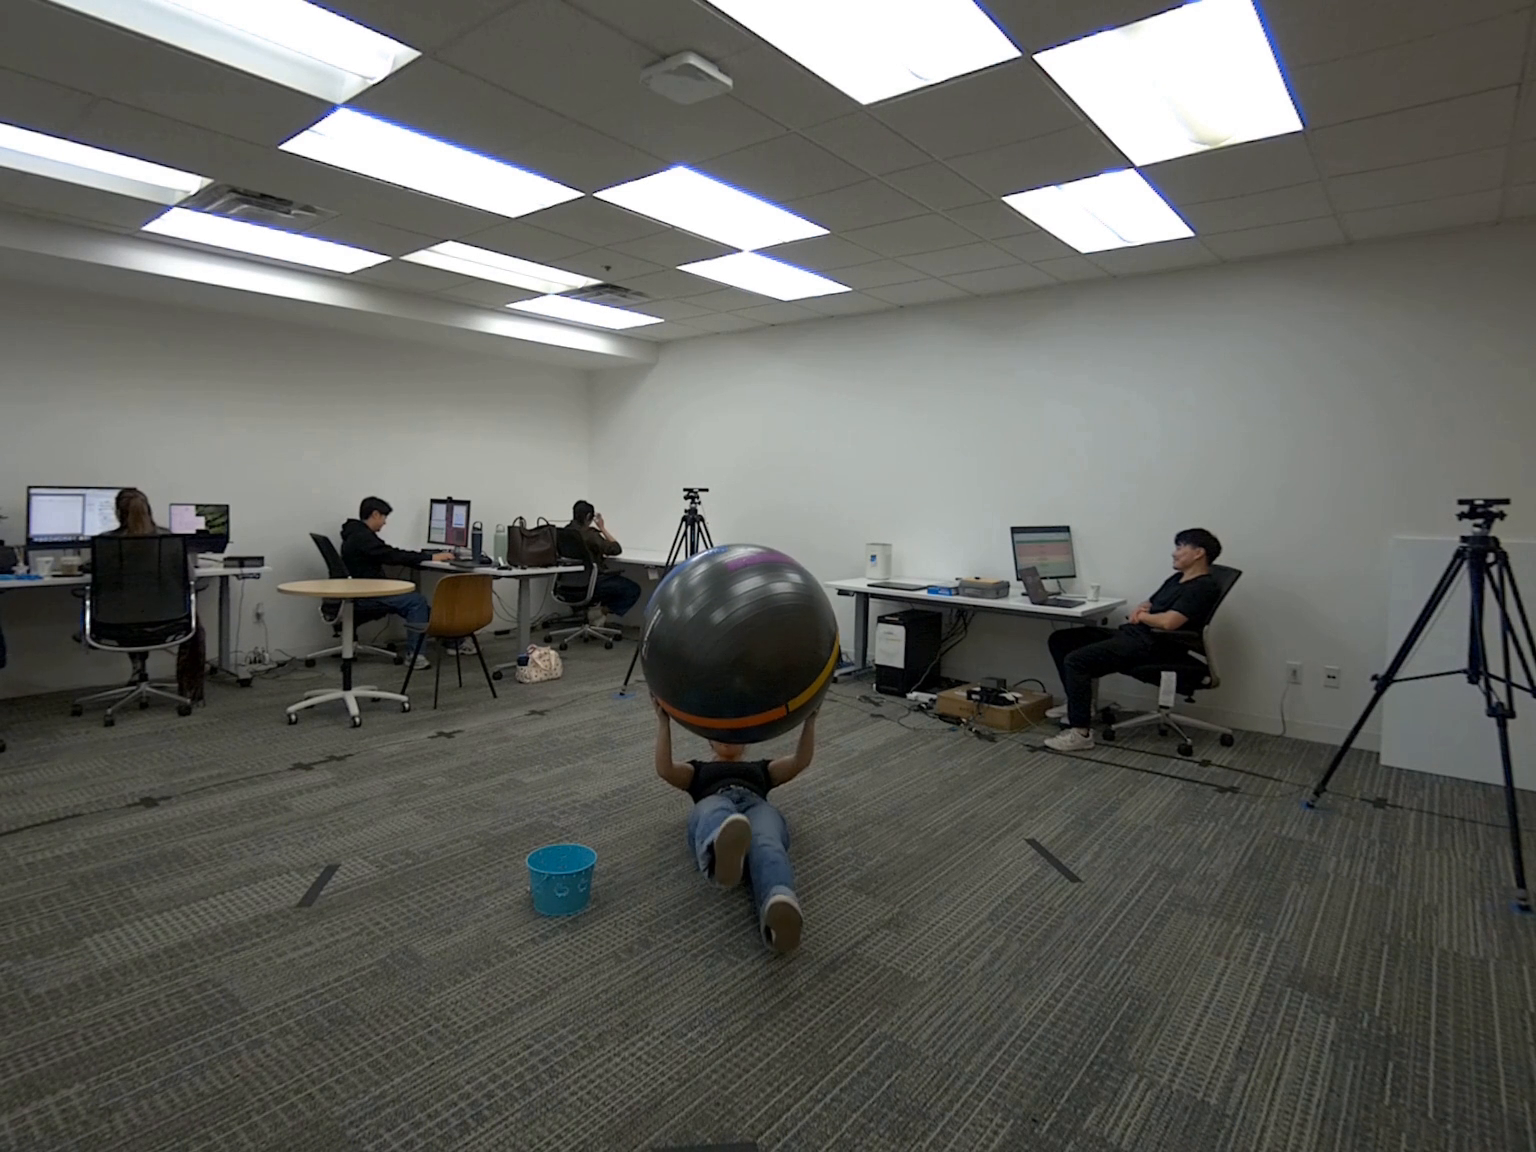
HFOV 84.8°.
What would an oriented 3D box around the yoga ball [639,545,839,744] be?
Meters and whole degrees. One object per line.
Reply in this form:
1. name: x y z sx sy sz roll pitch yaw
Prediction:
1. yoga ball: -0.120 0.256 3.248 0.757 0.755 0.762 1 4 -2
